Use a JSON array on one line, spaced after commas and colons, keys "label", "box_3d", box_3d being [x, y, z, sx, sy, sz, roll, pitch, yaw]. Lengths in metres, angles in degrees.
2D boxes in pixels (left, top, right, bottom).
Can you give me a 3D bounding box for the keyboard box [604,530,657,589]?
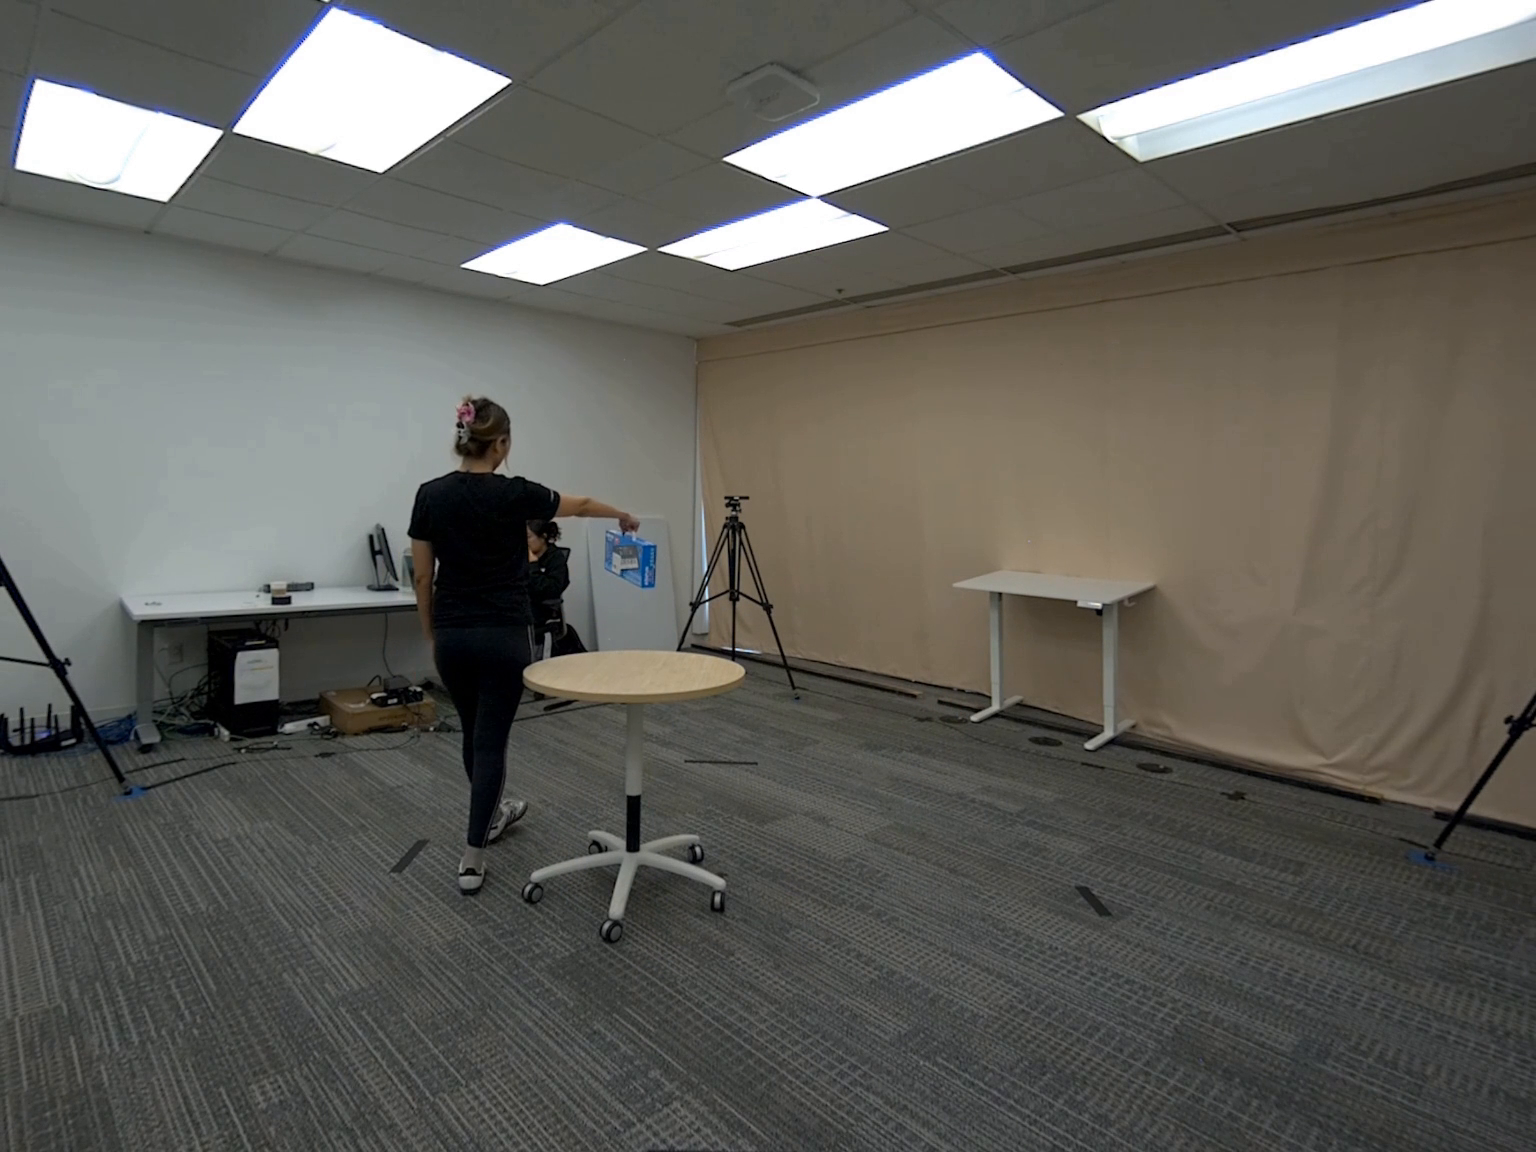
[{"label": "keyboard box", "box_3d": [-0.582, -0.075, 3.491, 0.058, 0.175, 0.448, 0, 10, -30]}]
